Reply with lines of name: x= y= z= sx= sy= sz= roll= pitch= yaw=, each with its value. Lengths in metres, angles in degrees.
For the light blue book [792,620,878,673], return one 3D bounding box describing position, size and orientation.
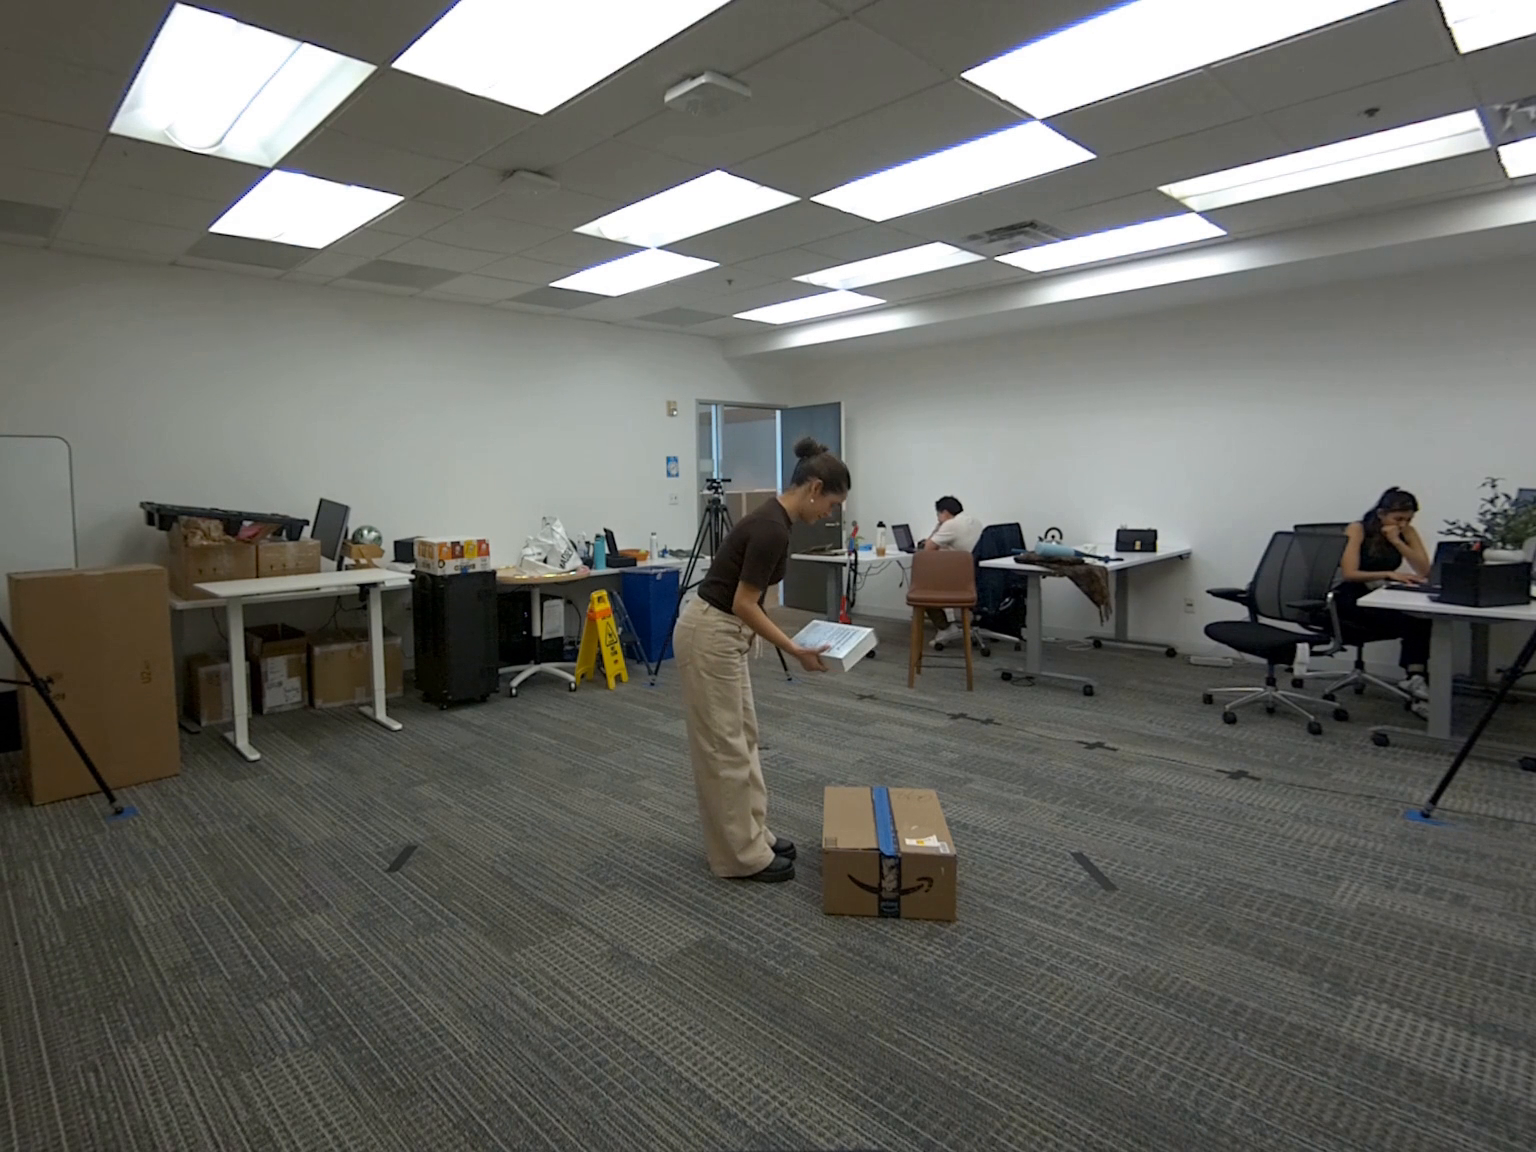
light blue book: x=0.210 y=0.232 z=2.882 sx=0.269 sy=0.058 sz=0.190 roll=6 pitch=33 yaw=45
